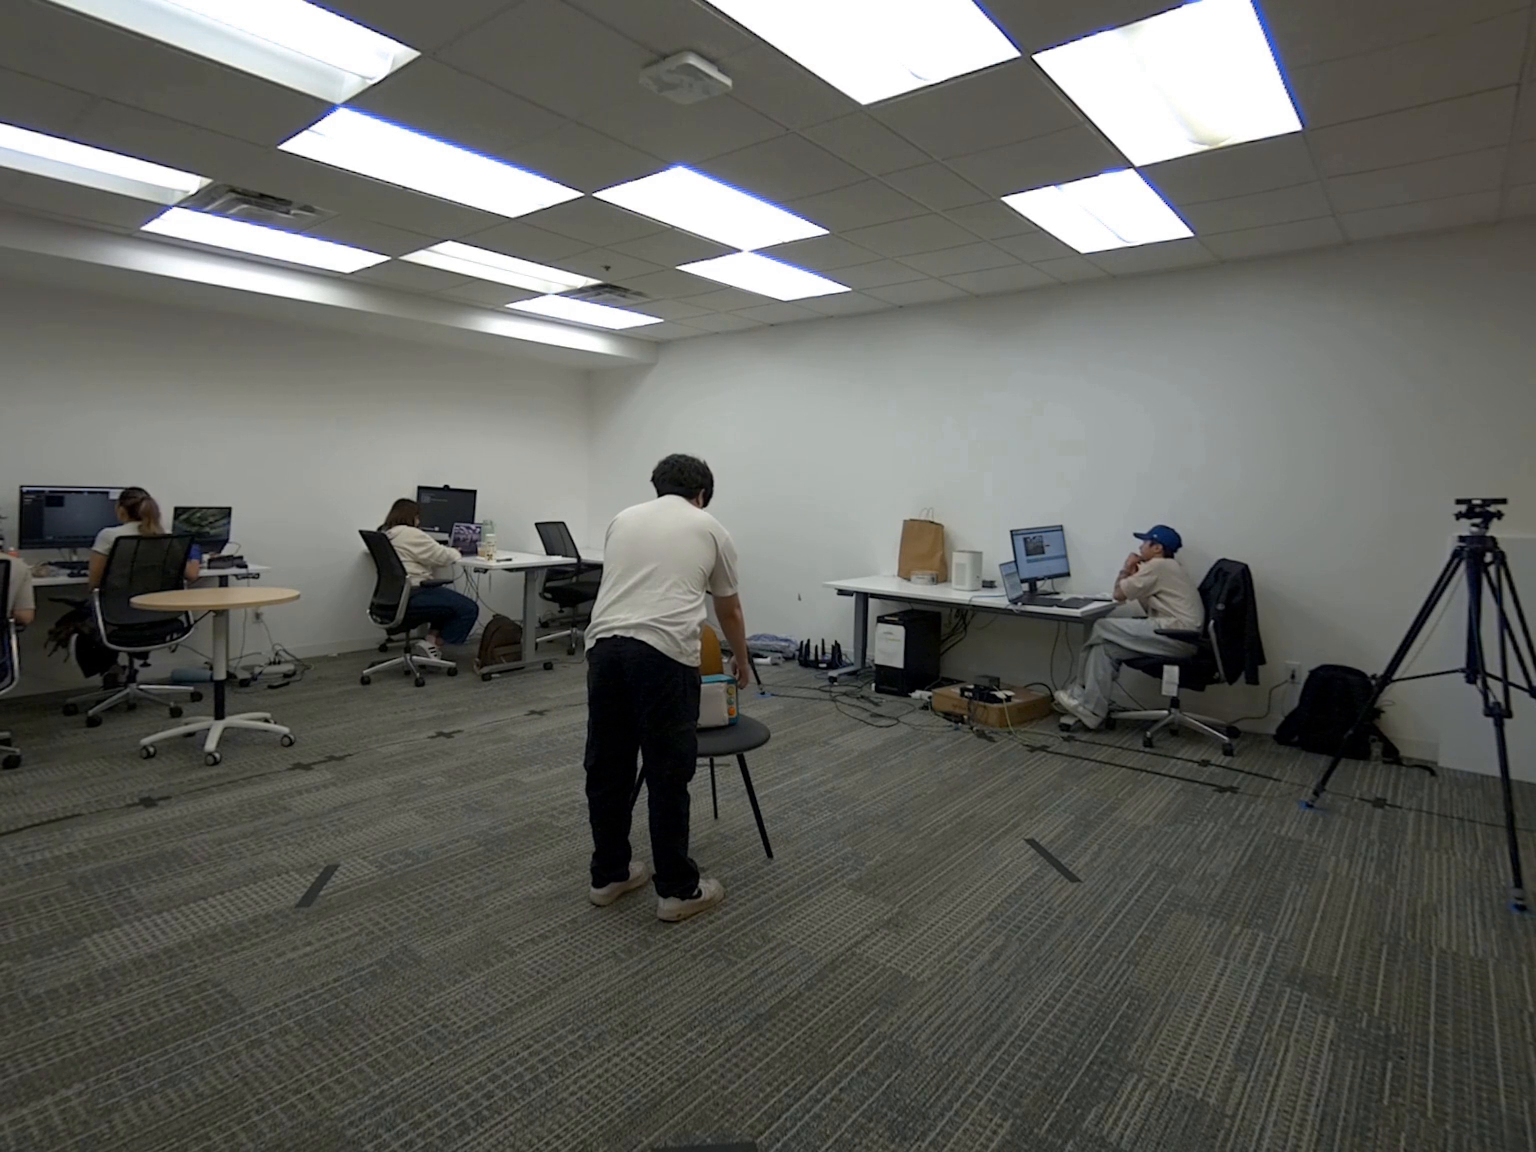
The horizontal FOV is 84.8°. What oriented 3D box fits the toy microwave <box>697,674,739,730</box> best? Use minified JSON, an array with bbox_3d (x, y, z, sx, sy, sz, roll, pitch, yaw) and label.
[{"bbox_3d":[-0.270,0.483,3.259,0.280,0.184,0.156,-2,1,-24],"label":"toy microwave"}]
